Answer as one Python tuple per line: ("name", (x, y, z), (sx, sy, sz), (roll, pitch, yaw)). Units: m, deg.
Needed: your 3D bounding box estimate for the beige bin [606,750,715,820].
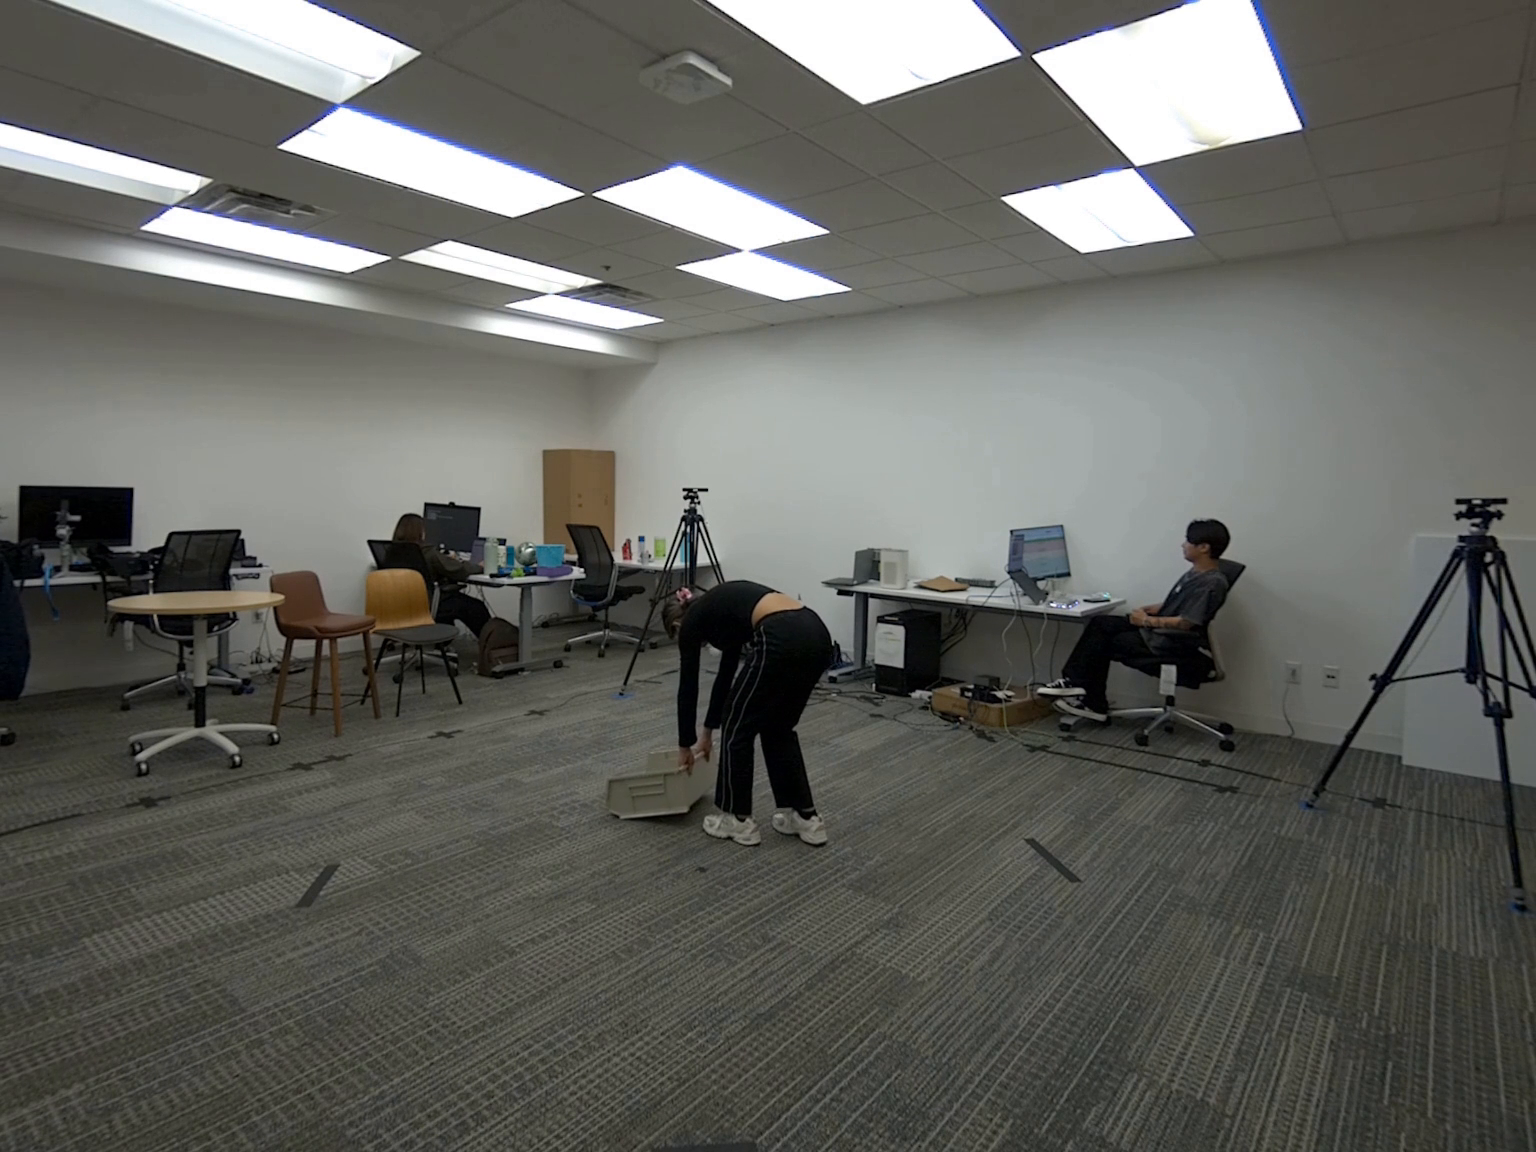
("beige bin", (-0.471, 0.890, 3.725), (0.383, 0.189, 0.415), (-9, 1, 18))
